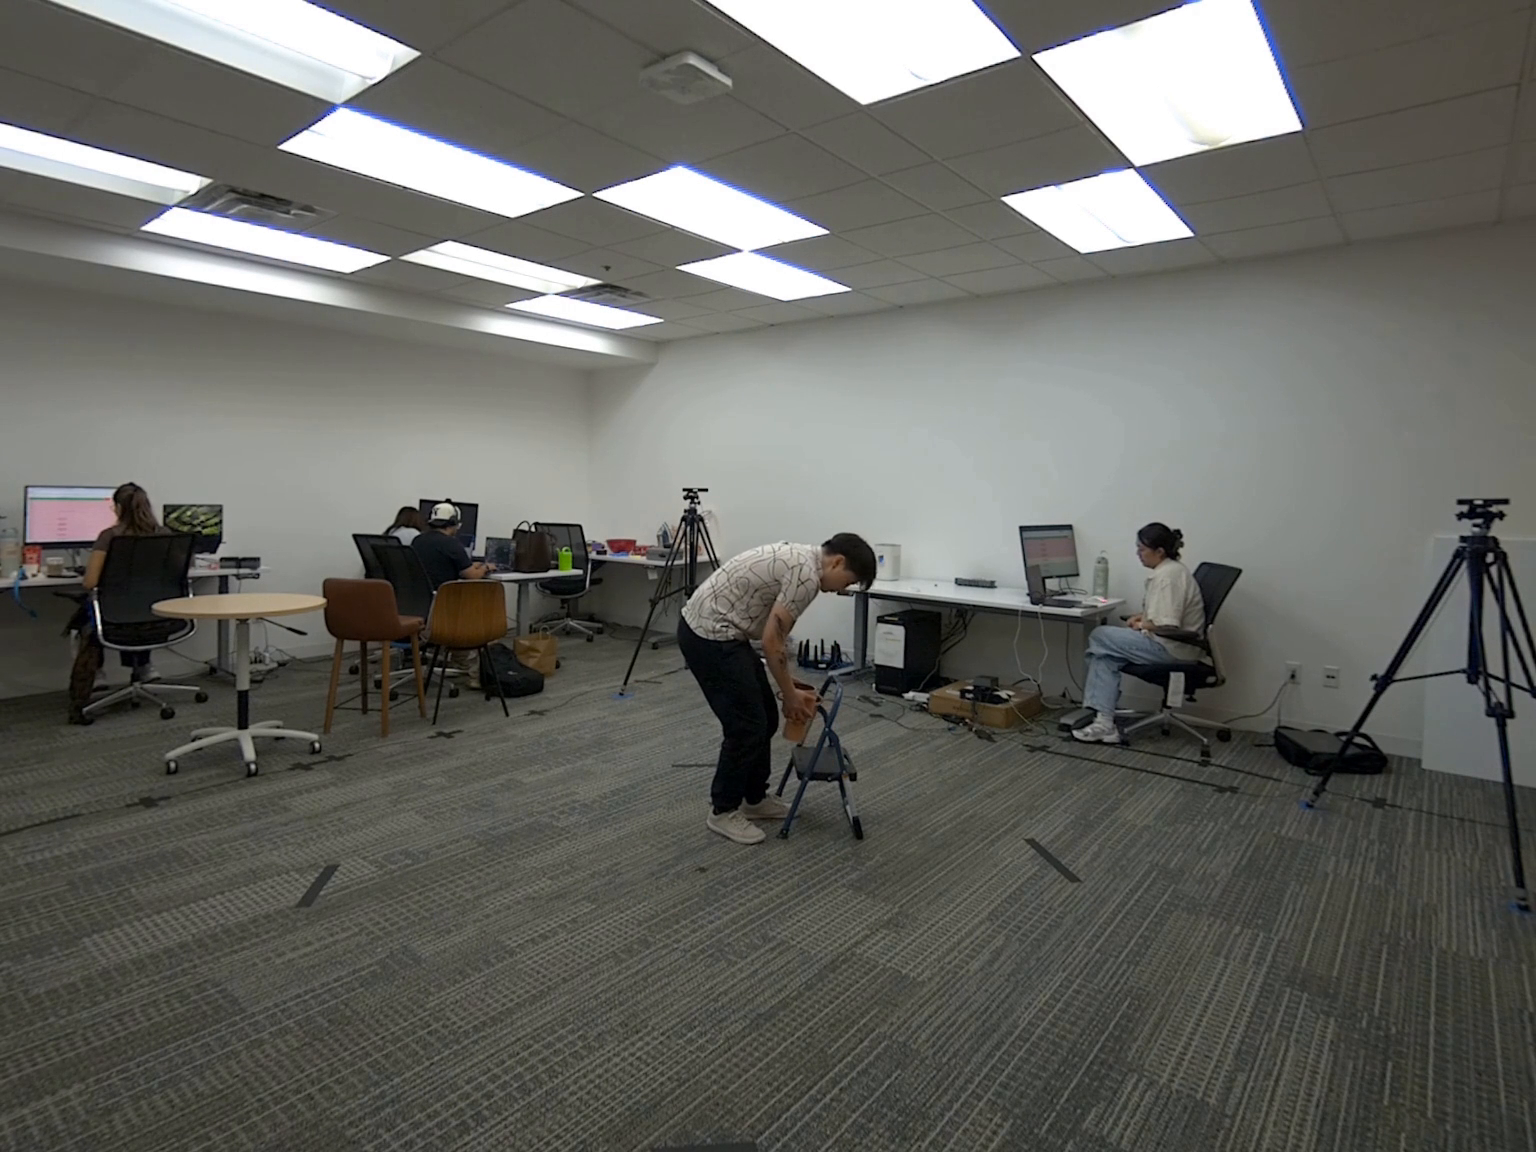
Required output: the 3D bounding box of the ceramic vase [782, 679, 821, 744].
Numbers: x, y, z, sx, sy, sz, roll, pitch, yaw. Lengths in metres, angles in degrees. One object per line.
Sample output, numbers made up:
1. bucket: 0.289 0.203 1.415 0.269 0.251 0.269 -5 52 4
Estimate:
1. ceramic vase: 0.119 0.566 3.552 0.164 0.219 0.130 13 7 34
